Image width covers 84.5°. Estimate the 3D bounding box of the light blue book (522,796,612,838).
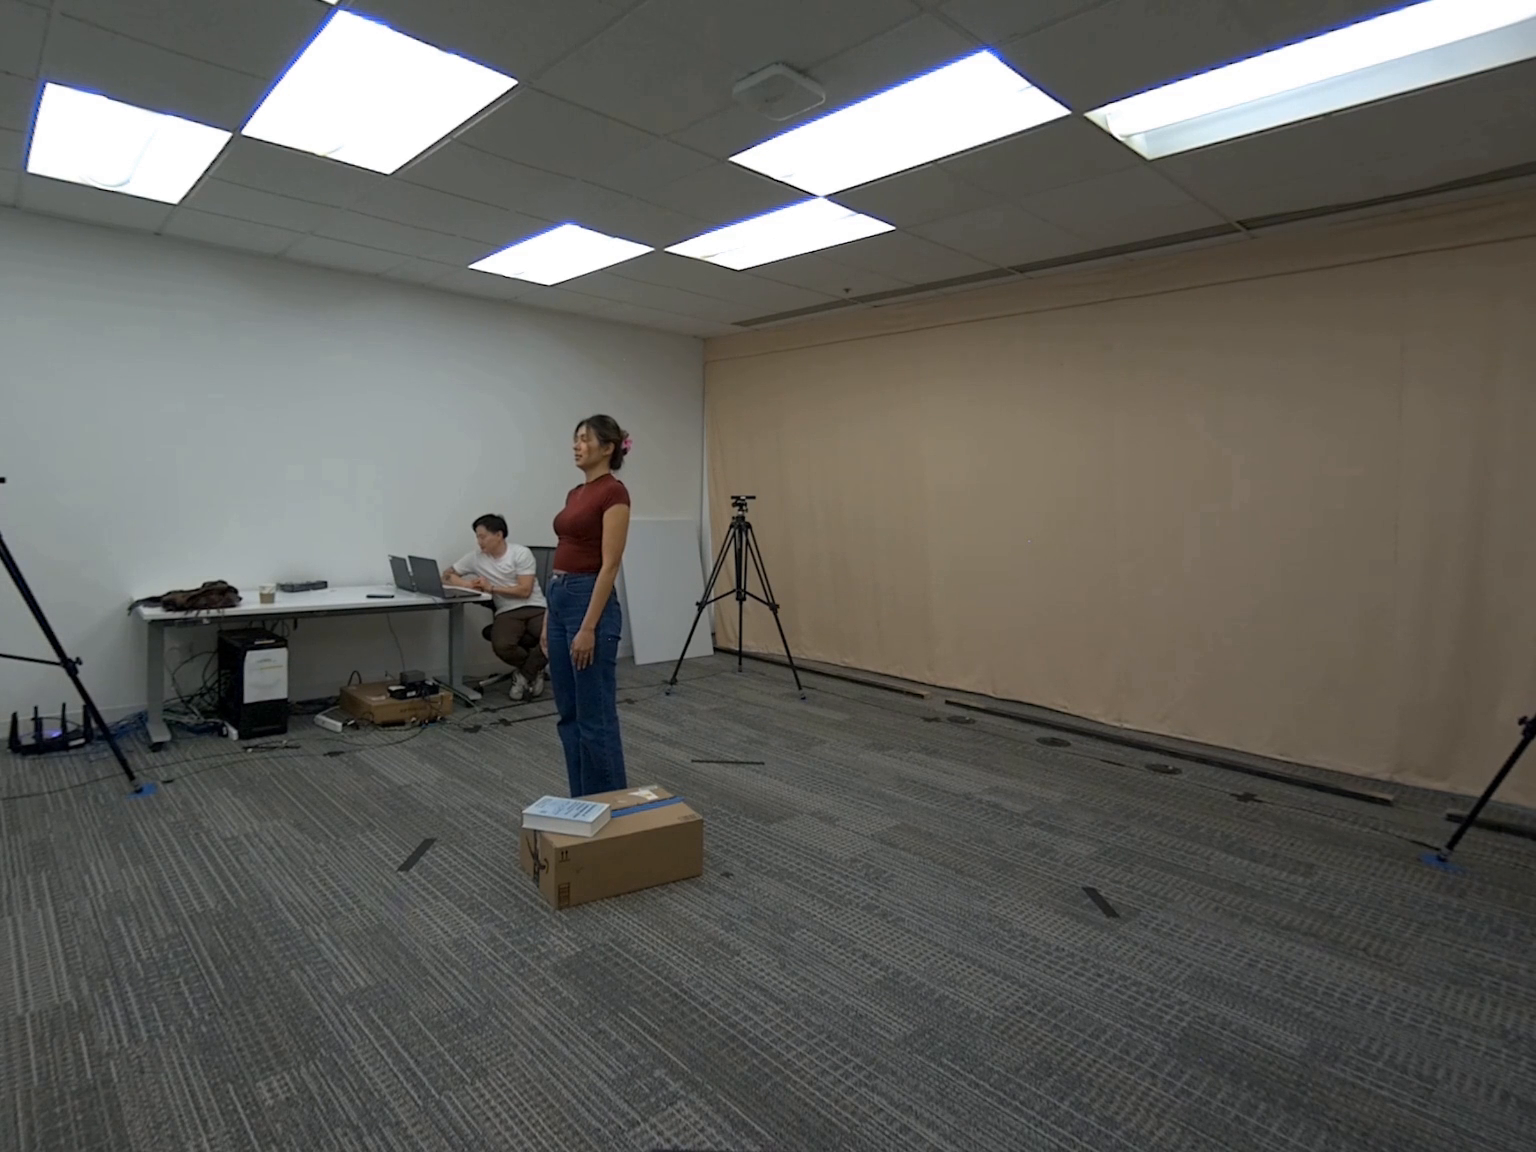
[{"bbox_3d":[-0.728,0.858,3.002,0.264,0.059,0.190,4,4,12],"label":"light blue book"}]
